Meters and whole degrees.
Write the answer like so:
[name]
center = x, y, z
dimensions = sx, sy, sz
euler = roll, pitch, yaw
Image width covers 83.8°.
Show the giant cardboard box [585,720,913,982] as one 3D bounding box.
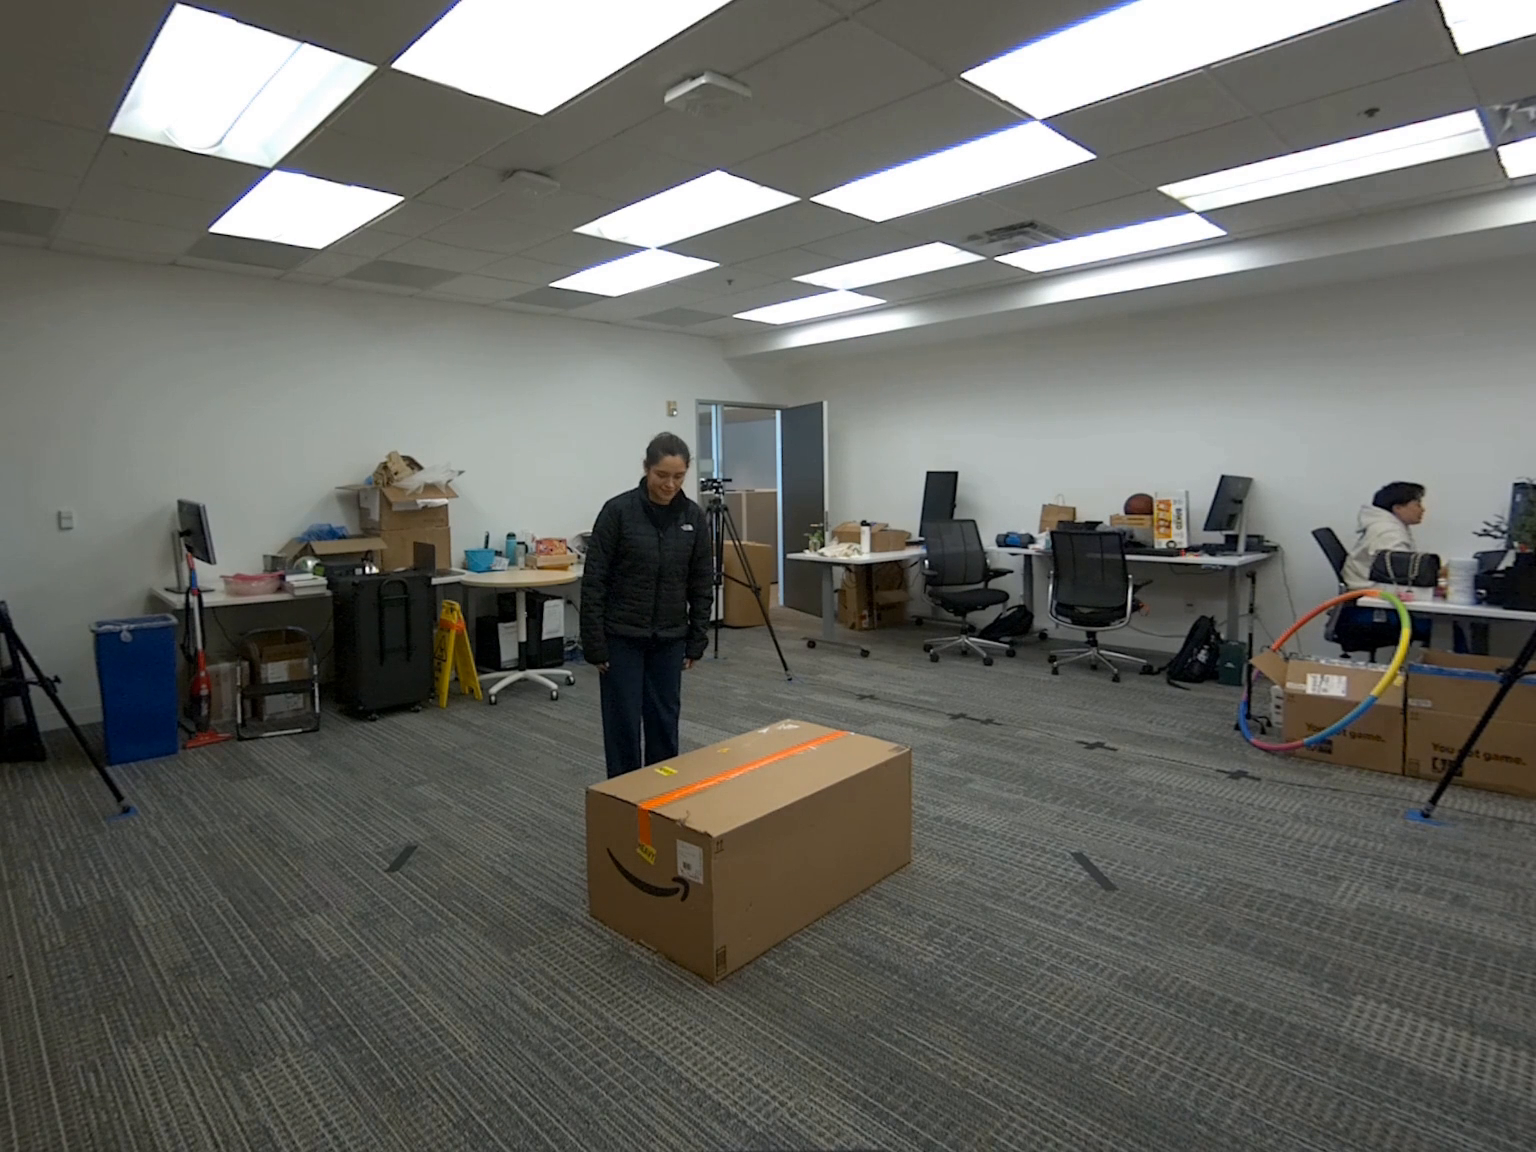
[giant cardboard box]
center = -0.032, 0.851, 2.917
dimensions = 0.595, 0.424, 0.999
euler = 3, 7, 42
